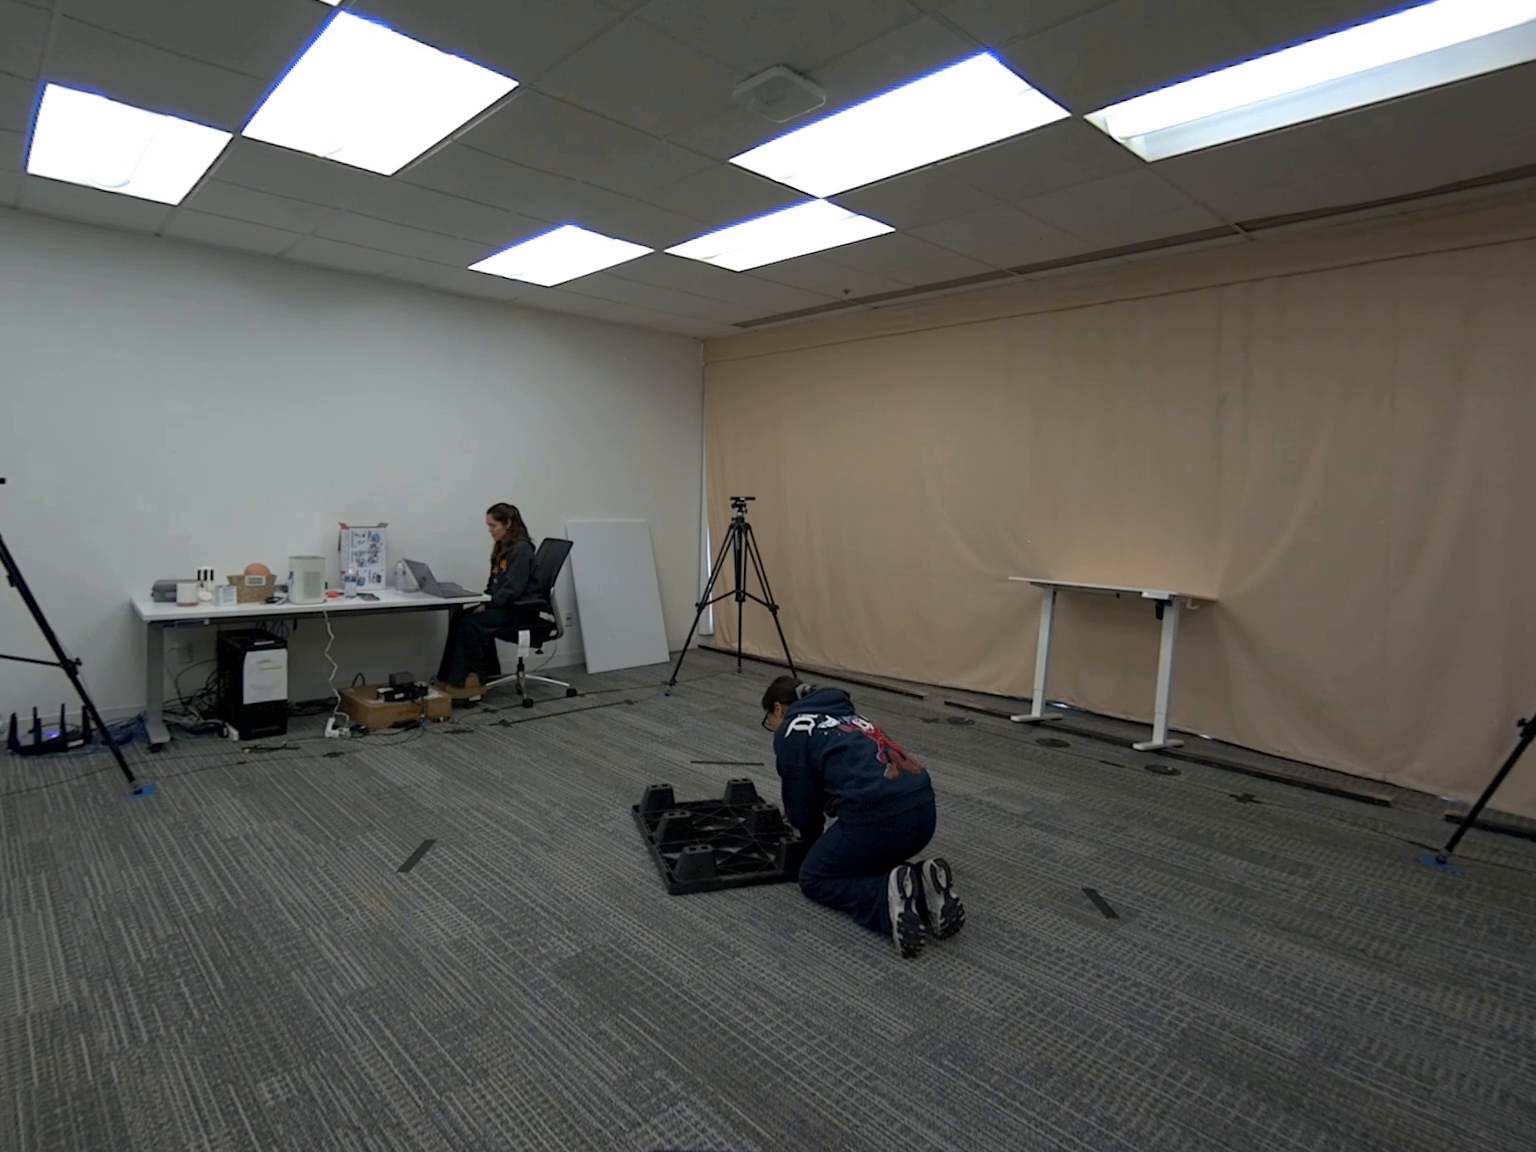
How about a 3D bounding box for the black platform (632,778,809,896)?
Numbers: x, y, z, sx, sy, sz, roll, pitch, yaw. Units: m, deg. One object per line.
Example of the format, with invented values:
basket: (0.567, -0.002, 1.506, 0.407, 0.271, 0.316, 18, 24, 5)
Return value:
black platform: (-0.191, 1.011, 3.398, 0.596, 0.143, 0.819, 0, 5, -19)
